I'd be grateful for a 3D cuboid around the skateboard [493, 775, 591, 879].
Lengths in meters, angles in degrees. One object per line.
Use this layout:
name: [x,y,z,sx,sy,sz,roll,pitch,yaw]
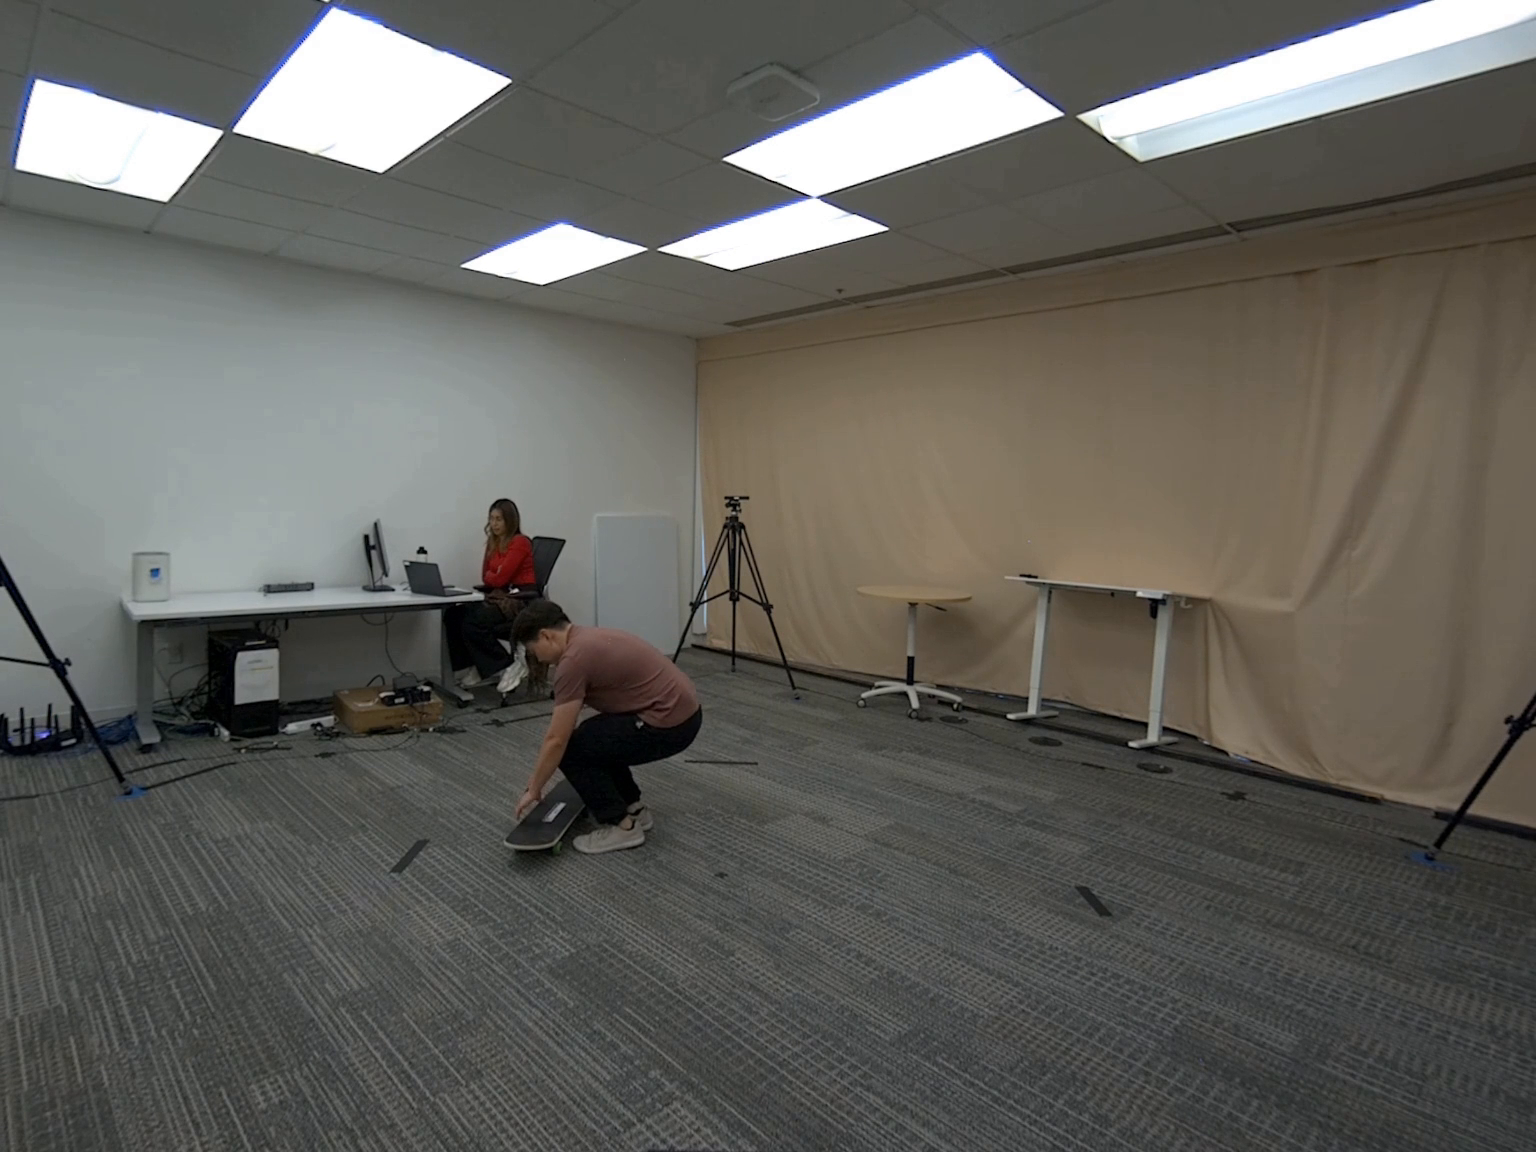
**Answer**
skateboard: [-0.878,0.998,3.449,0.194,0.110,0.784,3,5,3]
